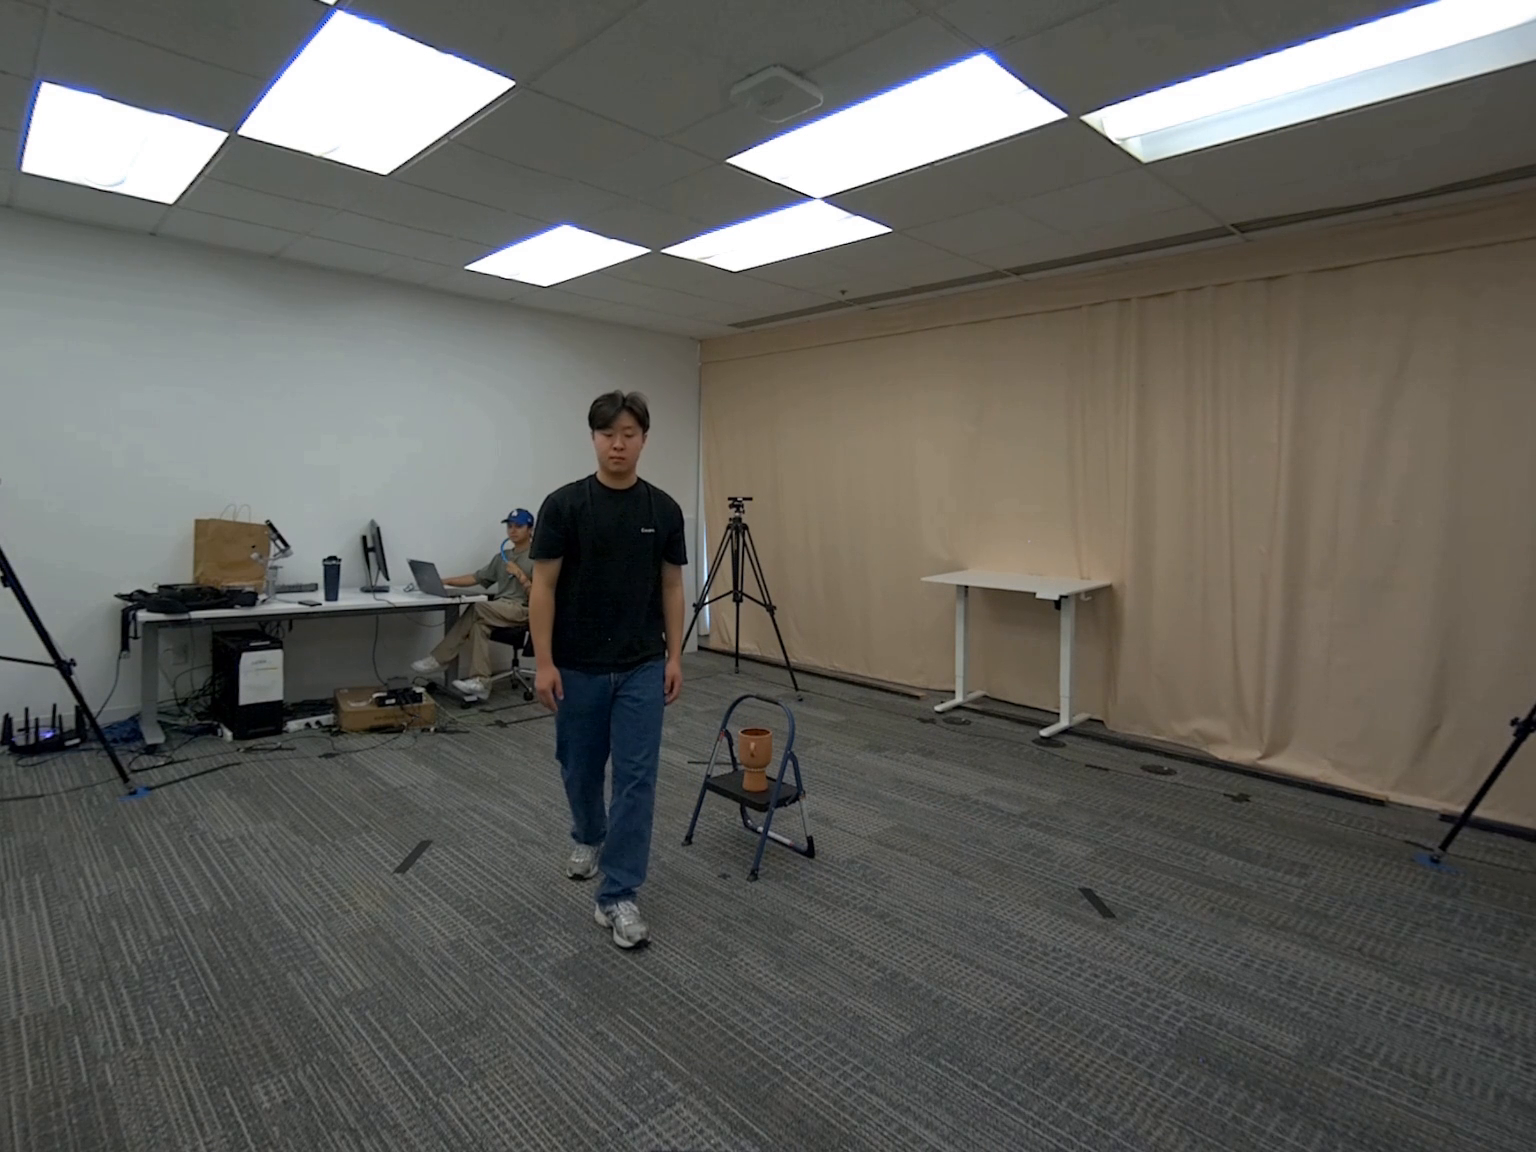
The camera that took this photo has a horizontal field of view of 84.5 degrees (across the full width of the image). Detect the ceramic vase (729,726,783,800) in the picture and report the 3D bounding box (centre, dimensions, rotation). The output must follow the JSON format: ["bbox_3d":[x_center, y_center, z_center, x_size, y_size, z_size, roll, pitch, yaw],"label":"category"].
[{"bbox_3d":[-0.047,0.722,3.295,0.138,0.219,0.155,3,4,39],"label":"ceramic vase"}]
